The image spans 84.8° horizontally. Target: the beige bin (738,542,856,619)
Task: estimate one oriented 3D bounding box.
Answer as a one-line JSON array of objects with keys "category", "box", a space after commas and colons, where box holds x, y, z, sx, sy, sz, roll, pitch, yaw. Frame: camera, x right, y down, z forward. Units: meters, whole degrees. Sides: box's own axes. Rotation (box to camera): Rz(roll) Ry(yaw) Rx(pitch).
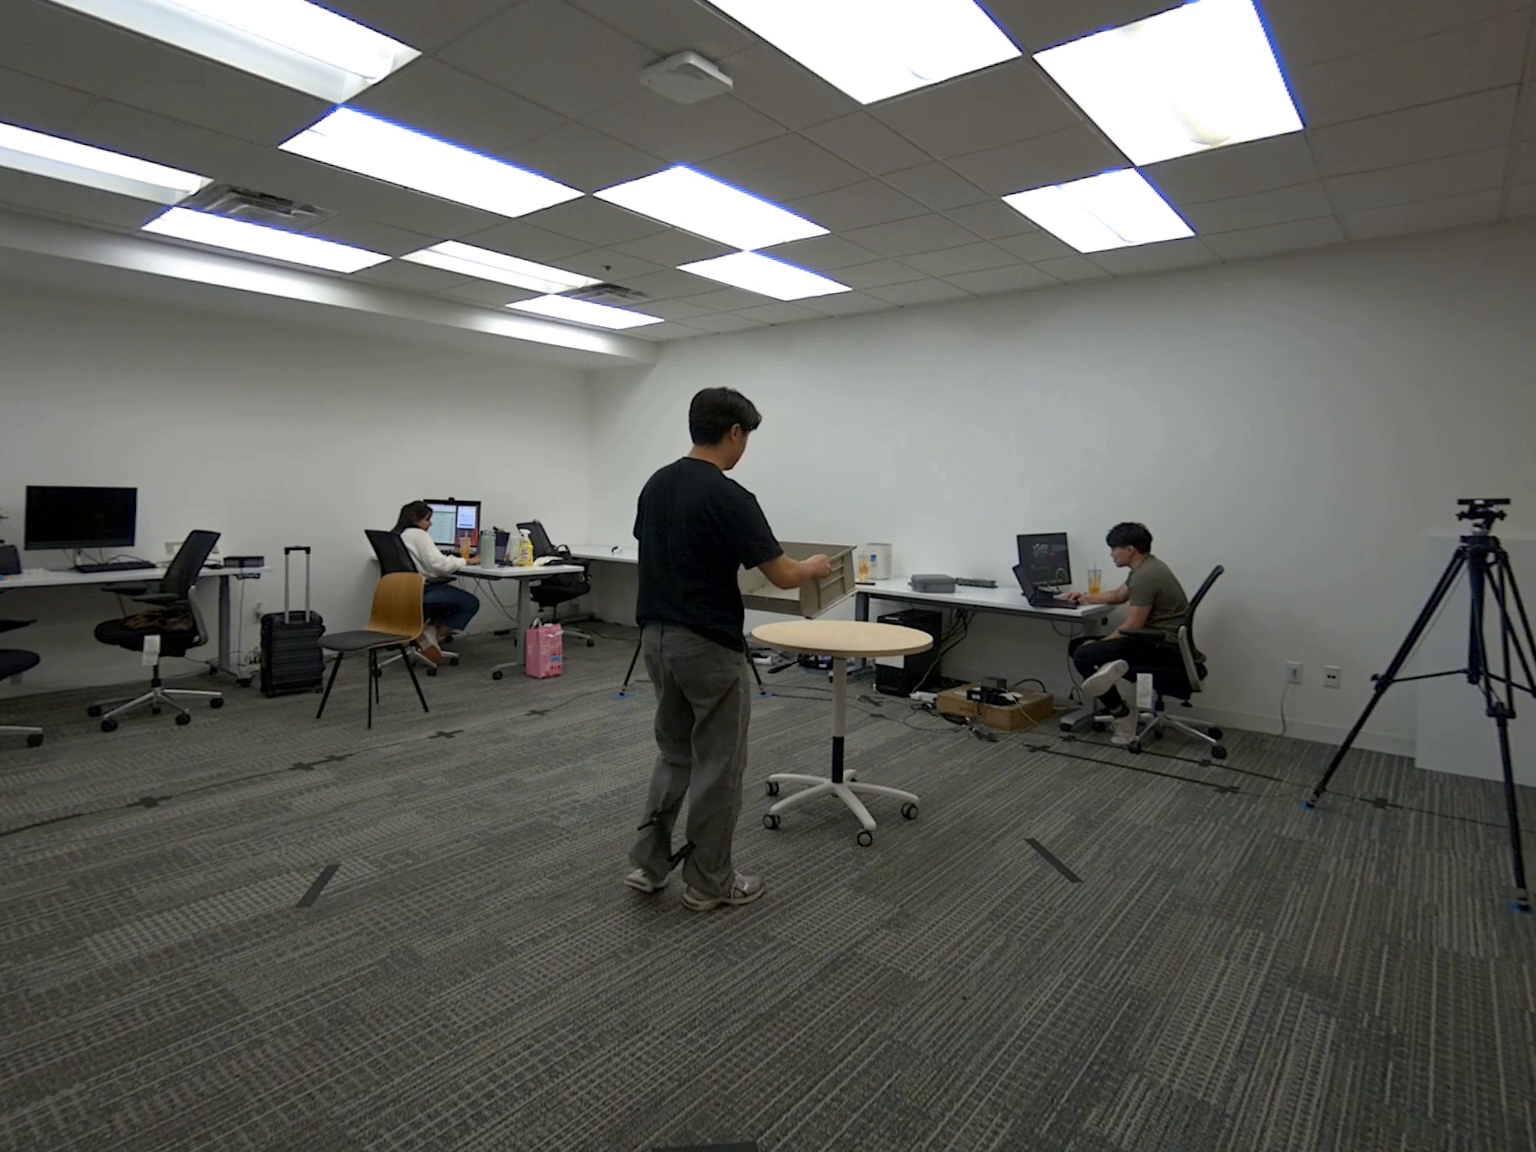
[{"category": "beige bin", "box": [0.055, 0.016, 3.195, 0.436, 0.186, 0.370, 4, 19, 41]}]
